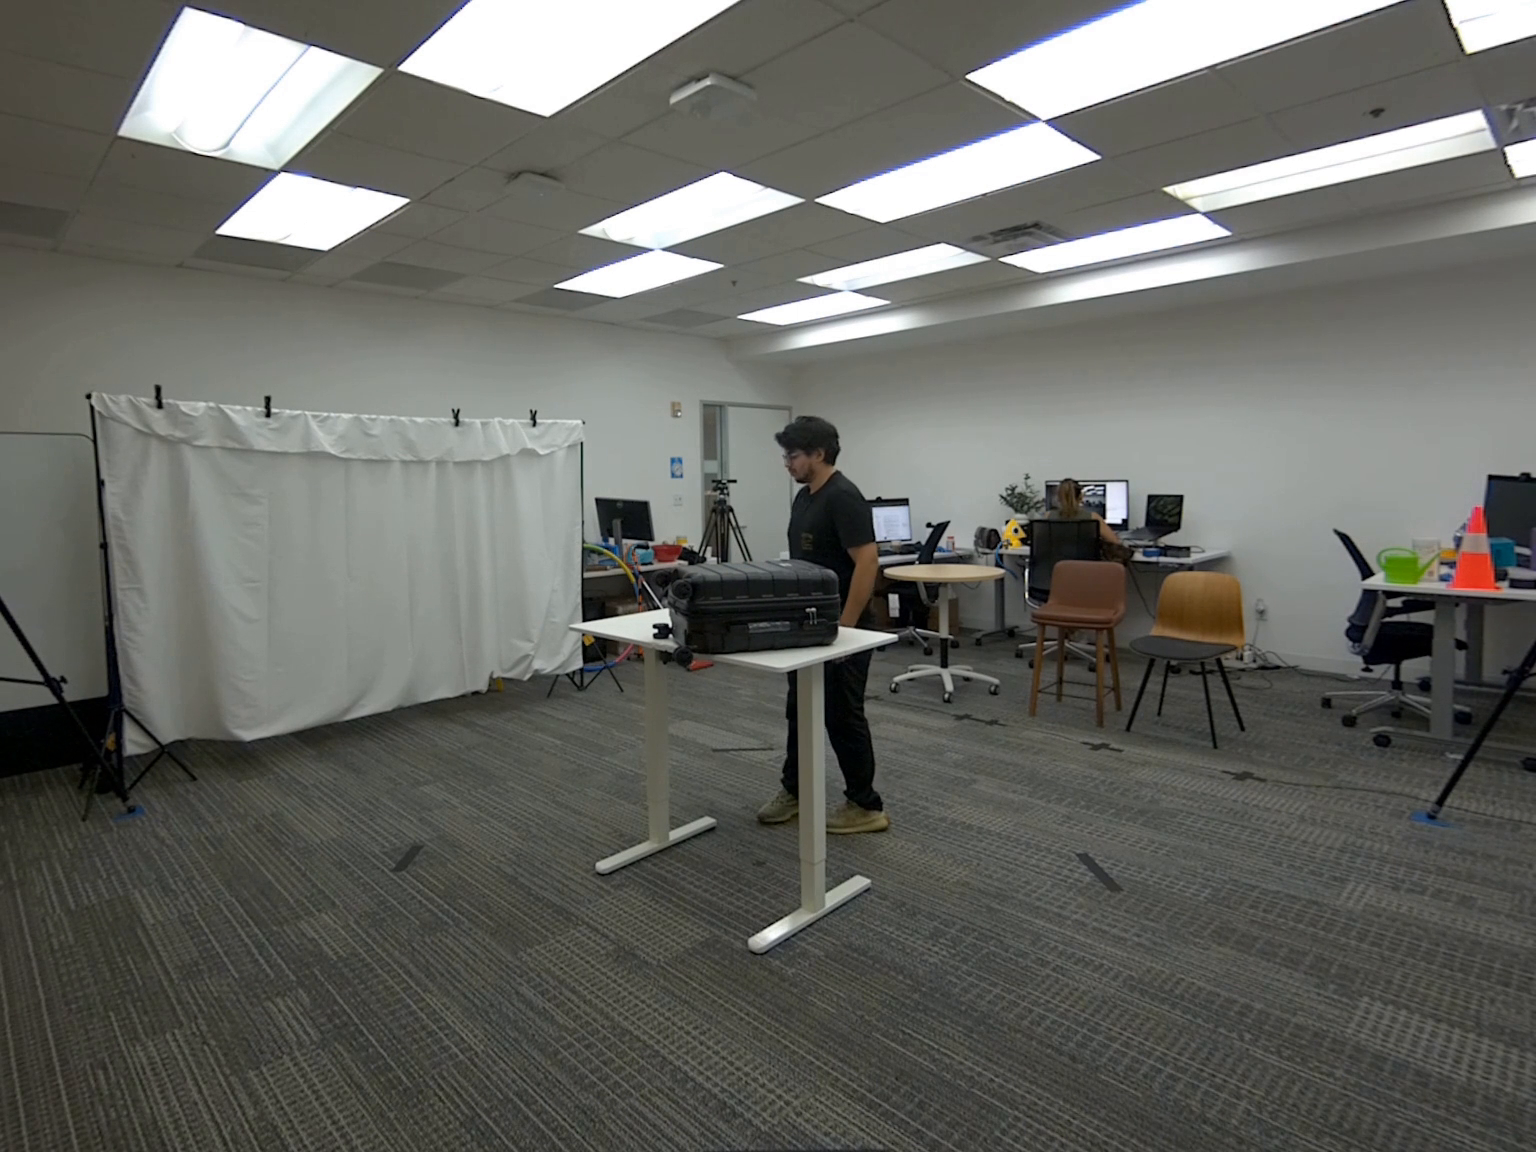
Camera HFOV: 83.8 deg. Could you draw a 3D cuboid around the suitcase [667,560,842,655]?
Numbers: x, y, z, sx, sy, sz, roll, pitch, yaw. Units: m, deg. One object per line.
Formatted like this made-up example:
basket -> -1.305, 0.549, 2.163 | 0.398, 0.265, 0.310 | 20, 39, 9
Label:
suitcase -> -0.065, 0.095, 2.720 | 0.541, 0.247, 0.383 | -3, 7, -18
